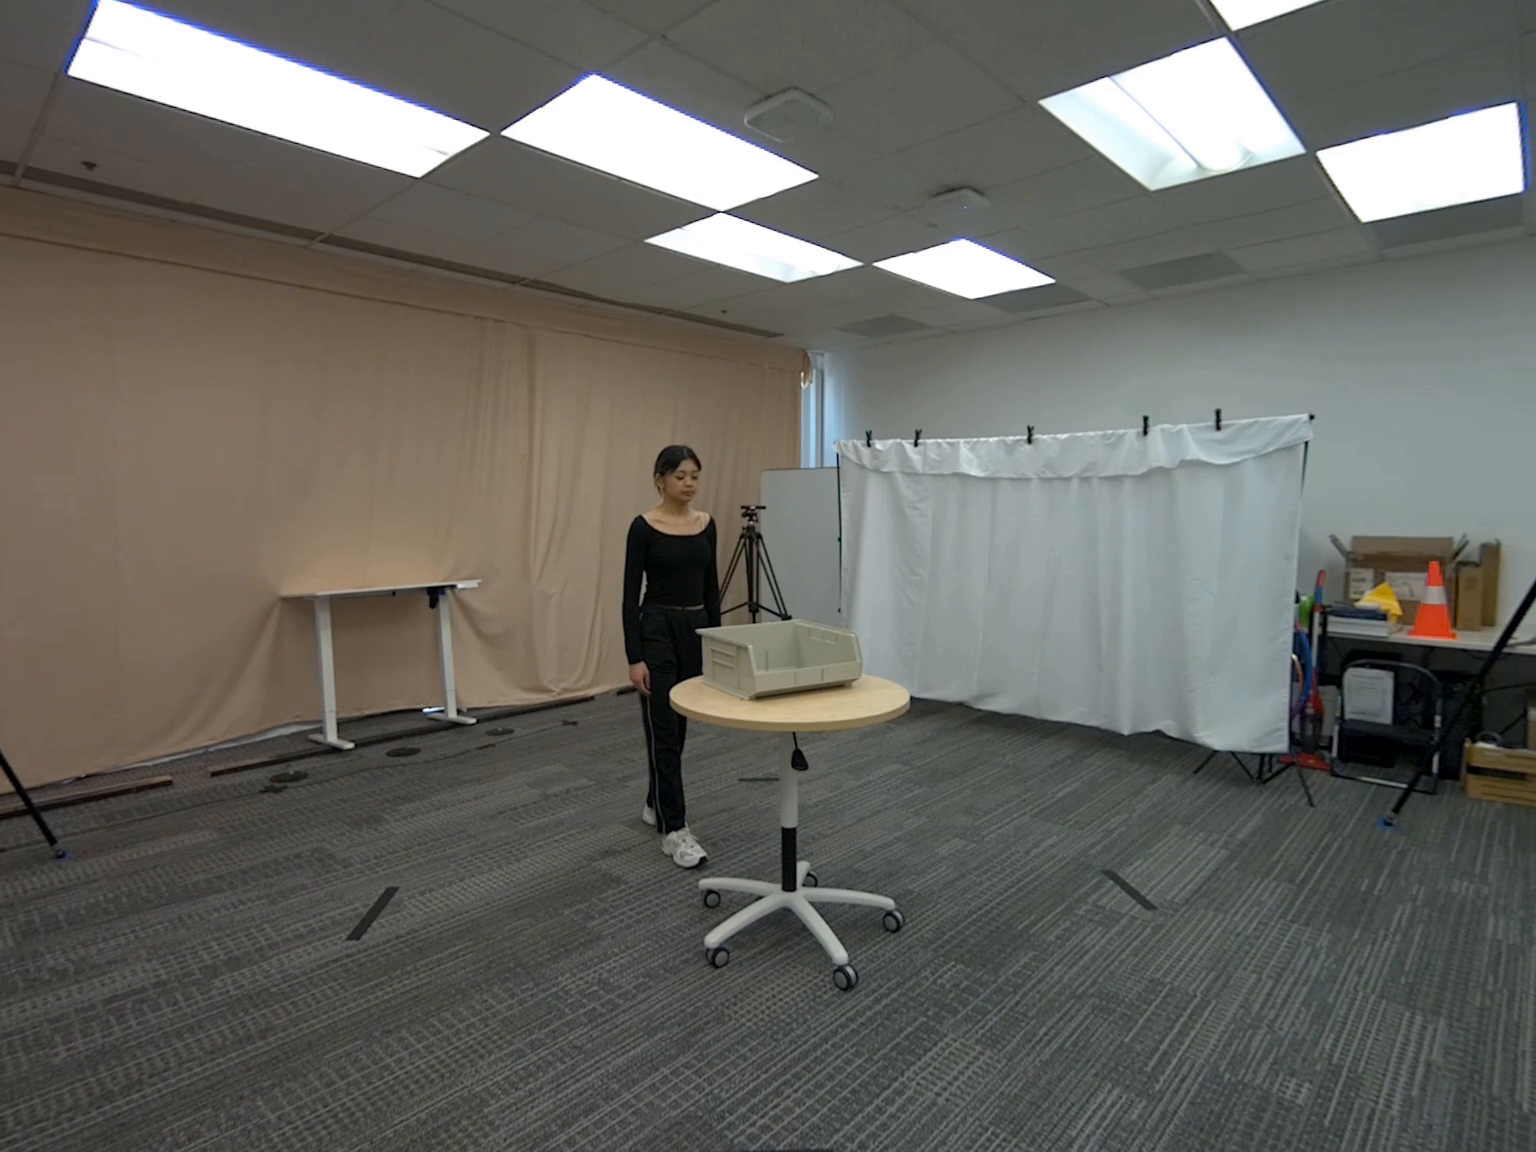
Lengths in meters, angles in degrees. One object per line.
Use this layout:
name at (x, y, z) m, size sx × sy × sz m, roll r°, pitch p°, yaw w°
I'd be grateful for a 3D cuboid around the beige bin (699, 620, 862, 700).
beige bin at (0.039, 0.276, 2.801) m, size 0.411 × 0.188 × 0.388 m, roll -4°, pitch 4°, yaw -31°
